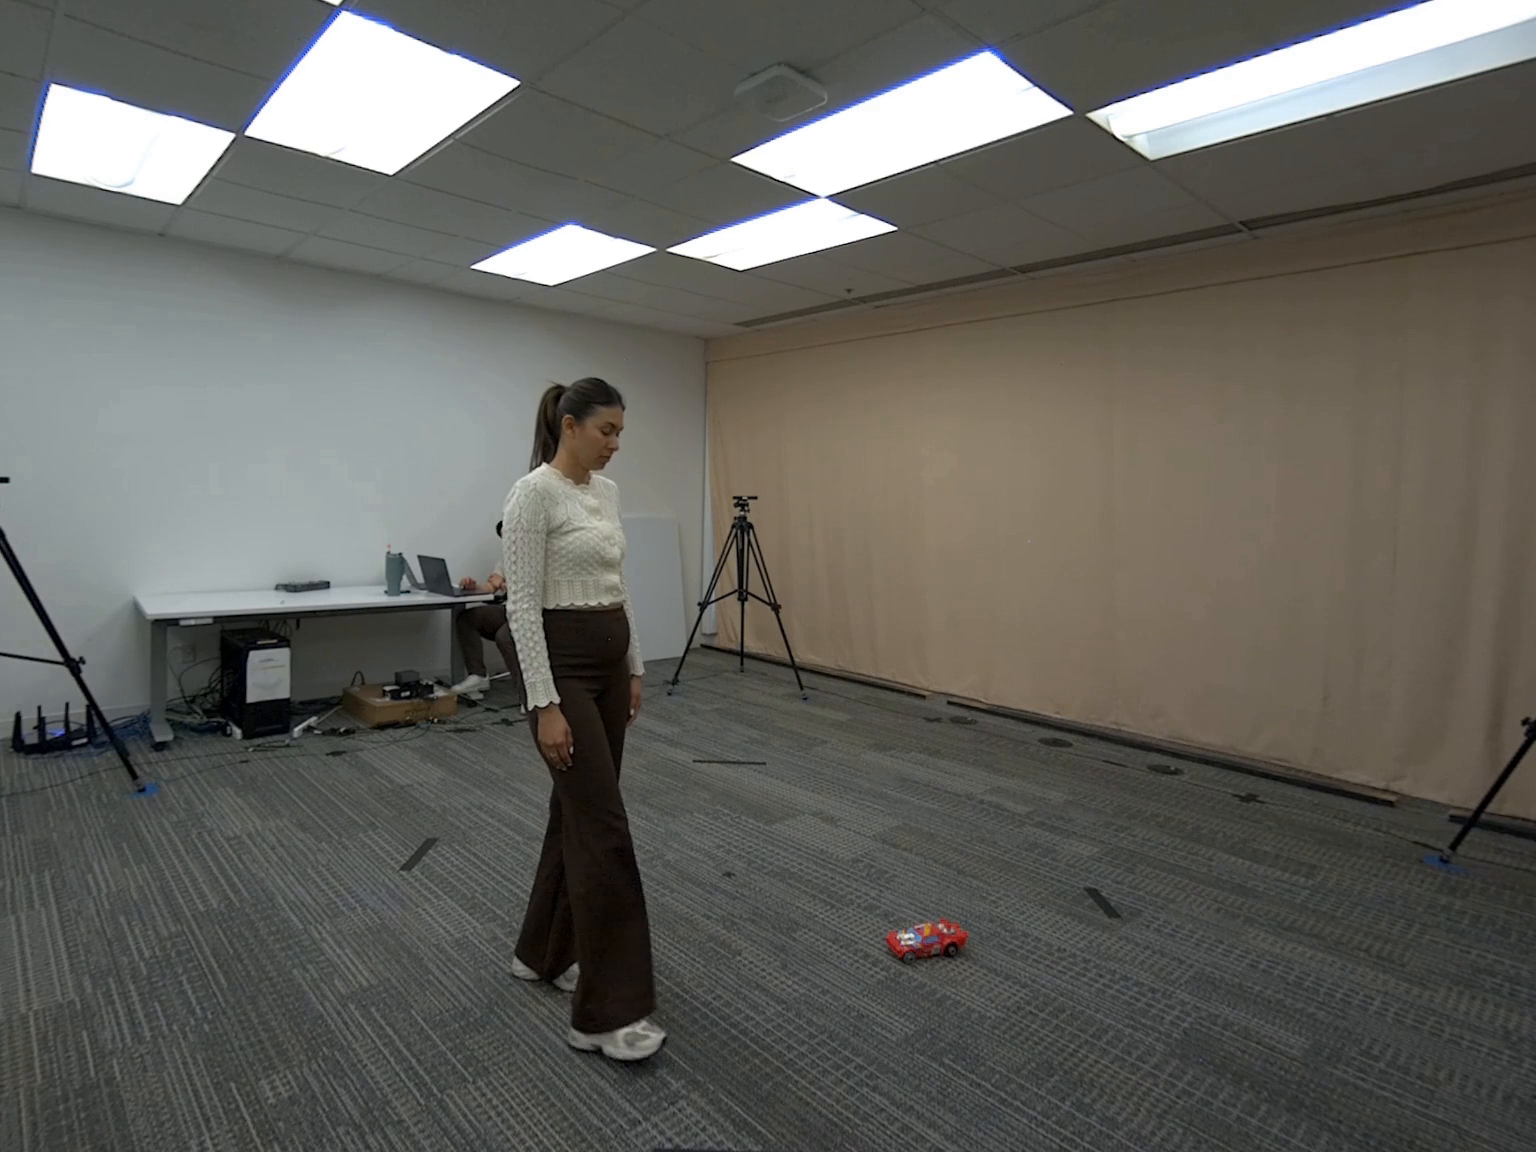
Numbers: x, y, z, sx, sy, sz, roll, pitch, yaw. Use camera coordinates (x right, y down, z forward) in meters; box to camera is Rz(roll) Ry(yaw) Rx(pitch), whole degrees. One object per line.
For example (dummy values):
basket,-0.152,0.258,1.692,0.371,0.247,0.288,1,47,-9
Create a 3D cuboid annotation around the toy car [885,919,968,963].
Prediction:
toy car,0.494,1.132,2.606,0.252,0.083,0.132,-12,9,-17
